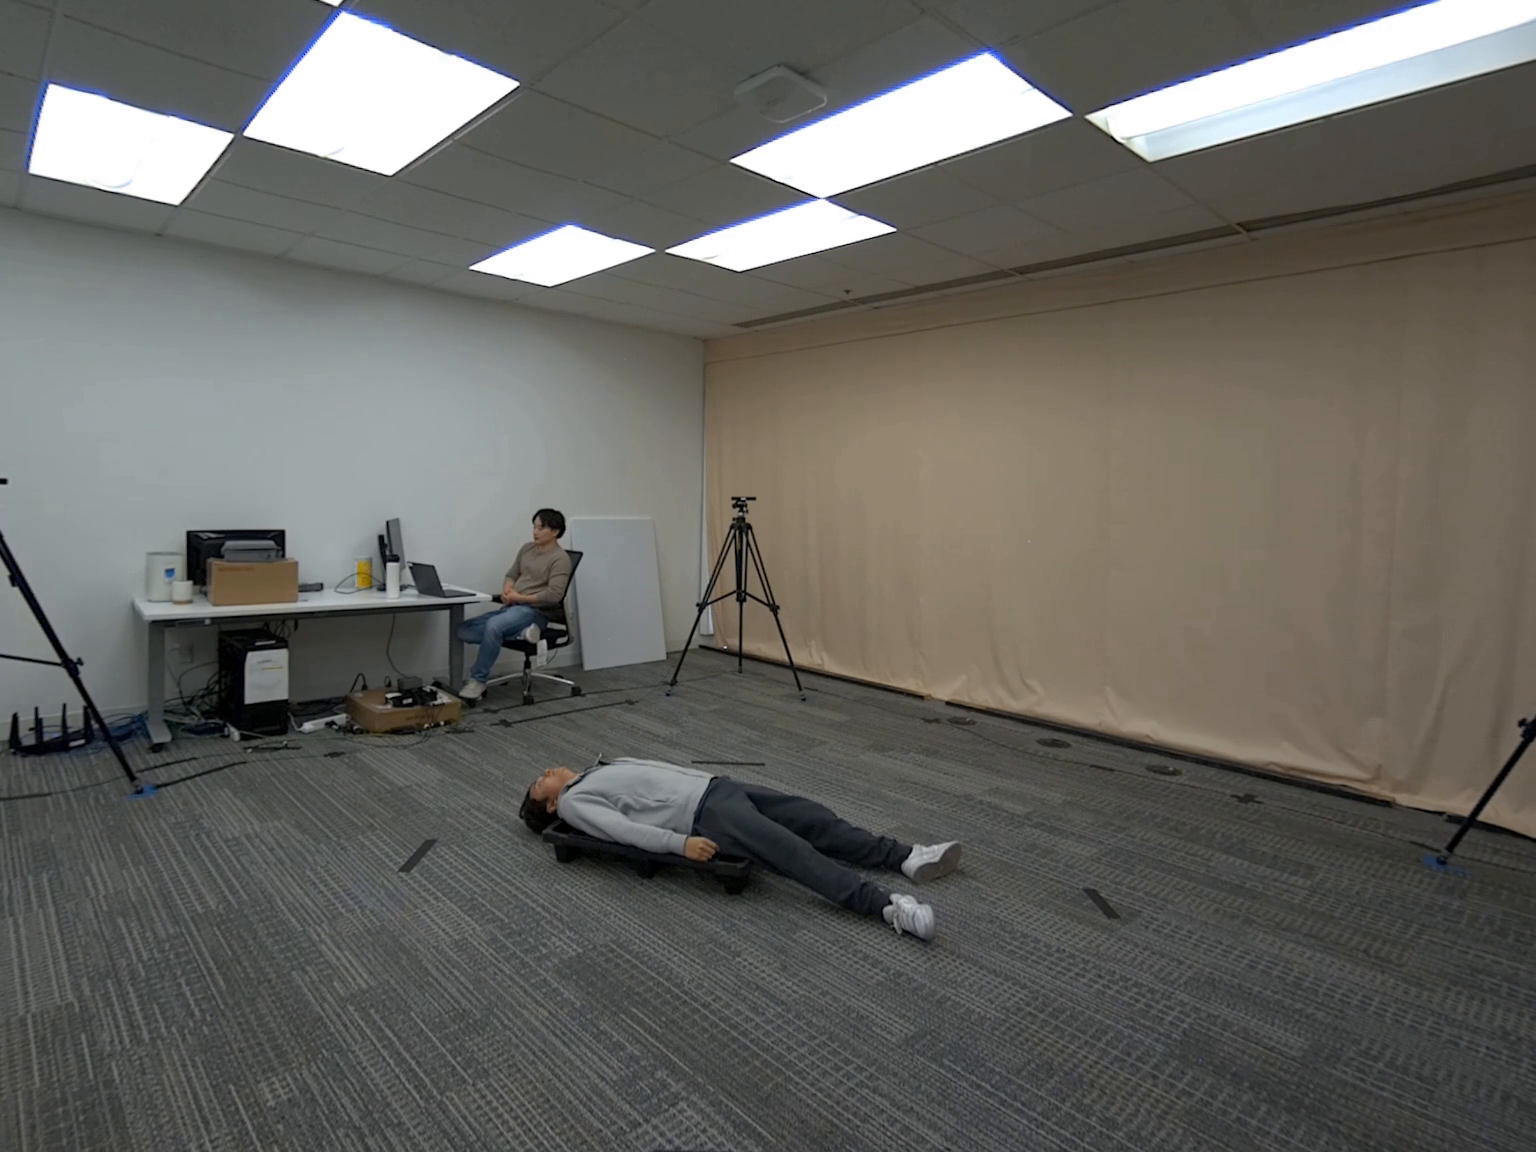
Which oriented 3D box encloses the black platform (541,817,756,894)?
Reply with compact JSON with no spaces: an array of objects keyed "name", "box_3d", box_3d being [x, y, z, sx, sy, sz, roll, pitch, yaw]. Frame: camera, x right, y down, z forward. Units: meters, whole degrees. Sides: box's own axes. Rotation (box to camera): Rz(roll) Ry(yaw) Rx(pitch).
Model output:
[{"name":"black platform","box_3d":[-0.390,1.001,3.288,0.819,0.142,0.598,2,9,20]}]
